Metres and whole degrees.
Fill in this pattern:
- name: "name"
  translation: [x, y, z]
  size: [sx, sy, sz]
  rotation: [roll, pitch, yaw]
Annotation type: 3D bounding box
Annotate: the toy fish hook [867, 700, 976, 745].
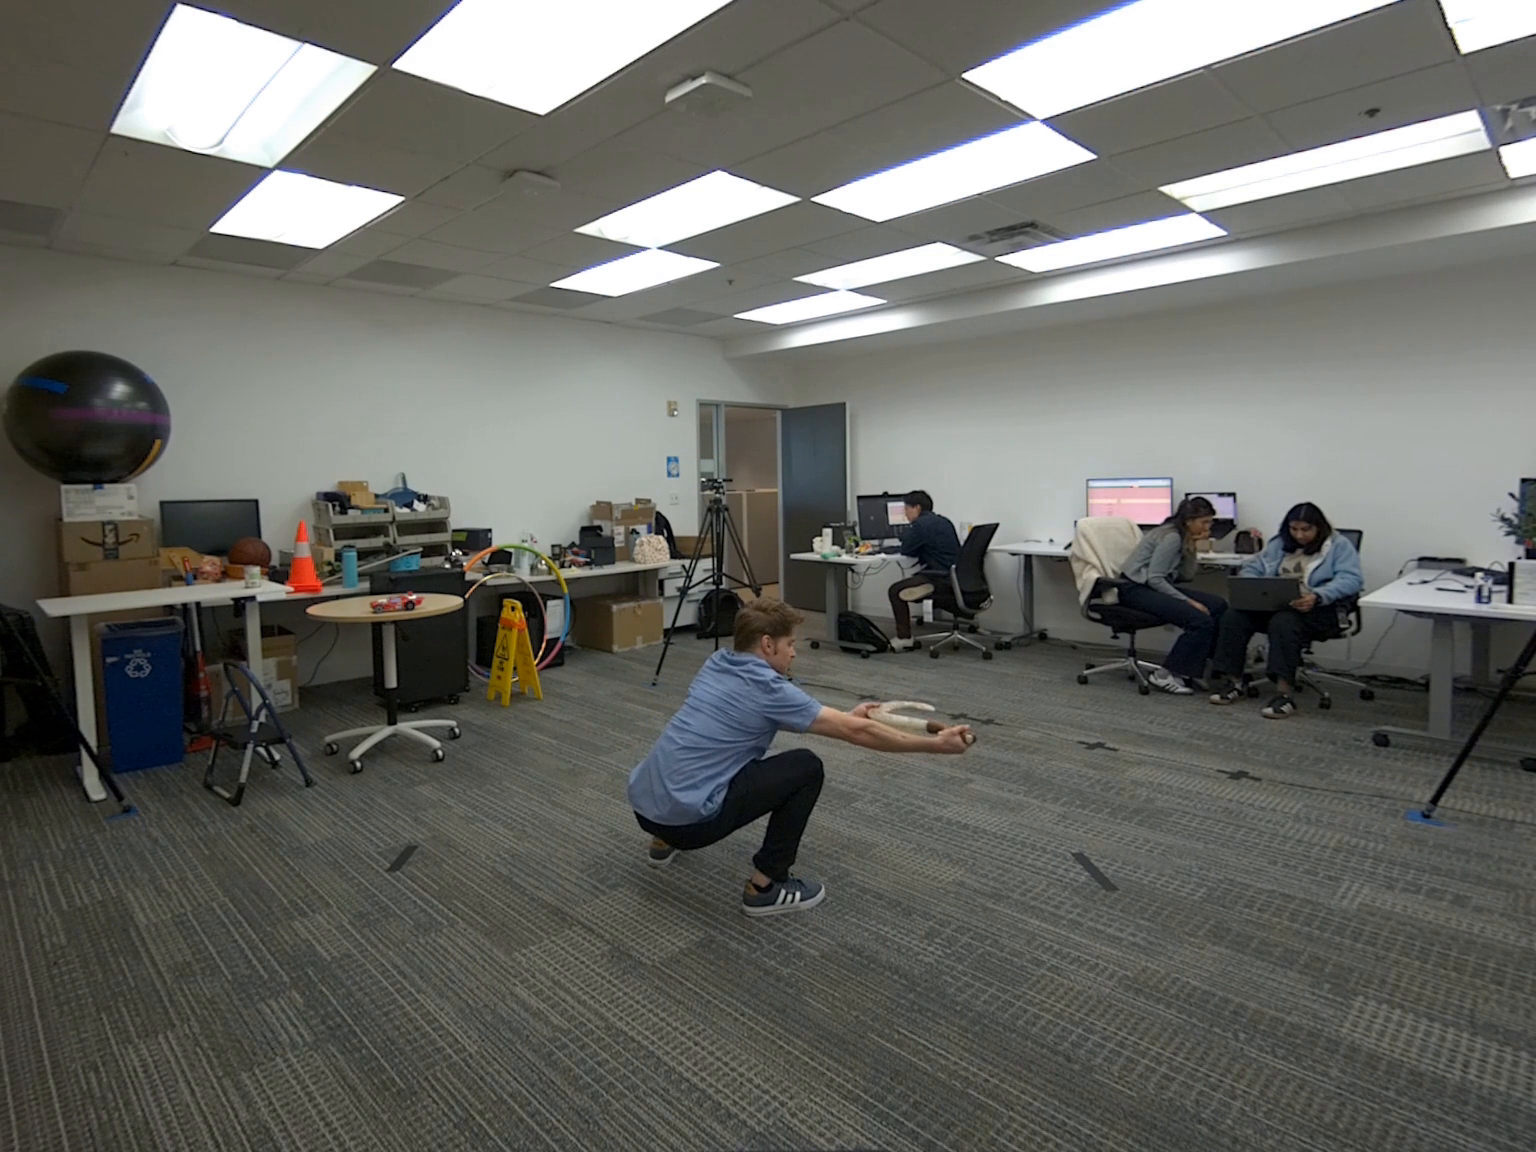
- name: "toy fish hook"
  translation: [0.549, 0.497, 2.977]
  size: [0.220, 0.048, 0.521]
  rotation: [-17, 12, -32]
